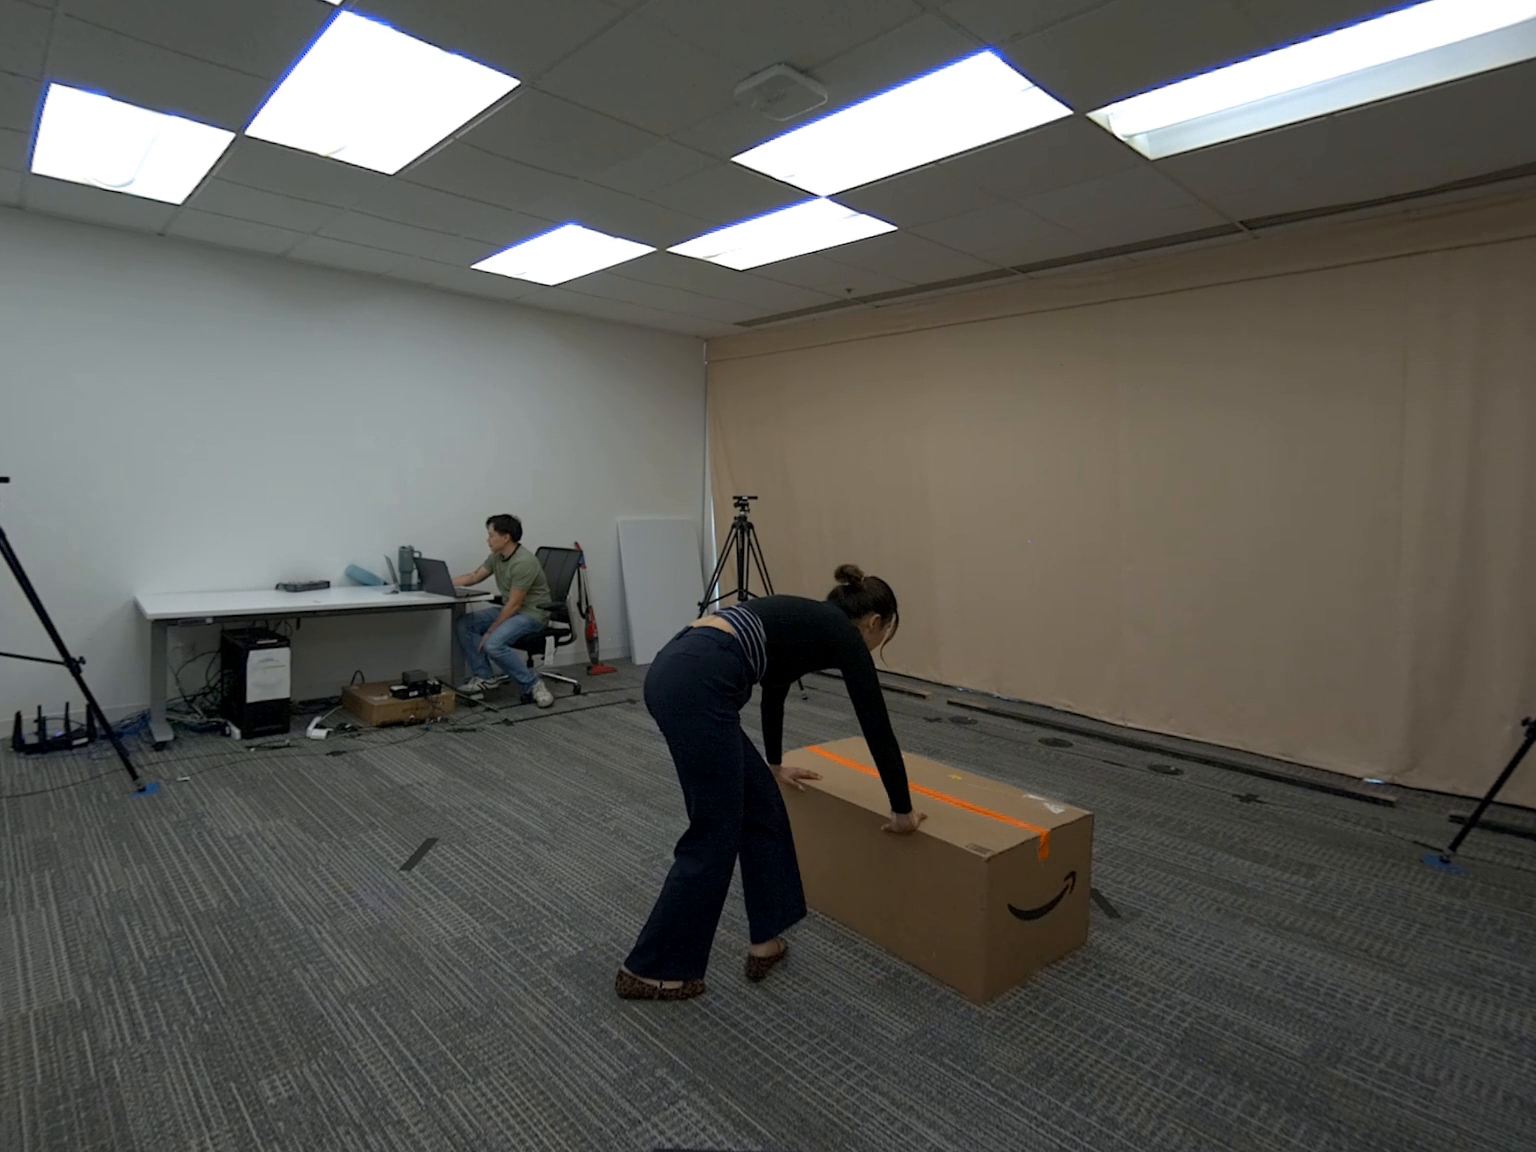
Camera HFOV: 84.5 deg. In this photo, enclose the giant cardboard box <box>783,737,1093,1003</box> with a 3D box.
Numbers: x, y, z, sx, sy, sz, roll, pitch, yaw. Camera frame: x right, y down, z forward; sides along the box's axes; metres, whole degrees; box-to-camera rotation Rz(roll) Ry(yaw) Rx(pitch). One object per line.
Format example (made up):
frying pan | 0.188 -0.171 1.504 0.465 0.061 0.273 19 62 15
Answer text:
giant cardboard box | 0.479 0.926 2.903 0.565 0.425 1.052 -4 7 -40
